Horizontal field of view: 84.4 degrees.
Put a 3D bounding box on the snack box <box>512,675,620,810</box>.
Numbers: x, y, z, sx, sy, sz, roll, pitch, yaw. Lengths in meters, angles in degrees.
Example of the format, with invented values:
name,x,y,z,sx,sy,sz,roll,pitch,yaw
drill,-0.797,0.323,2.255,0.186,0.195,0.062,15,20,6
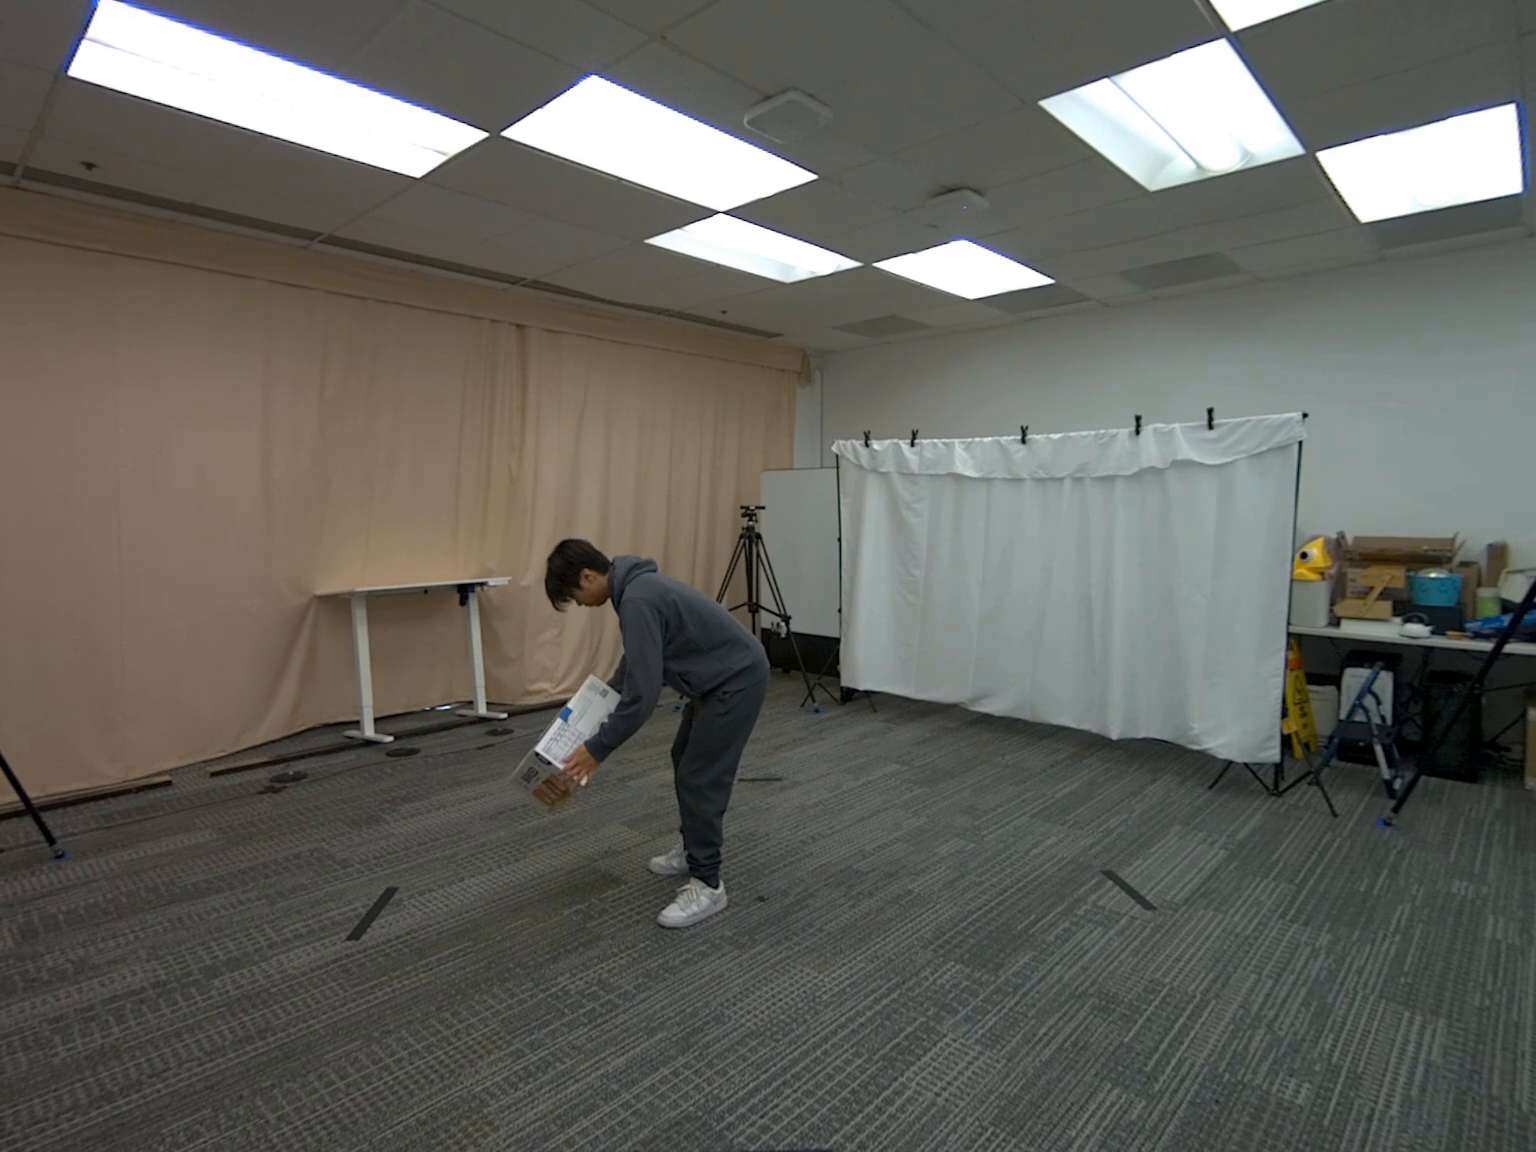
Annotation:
name,x,y,z,sx,sy,sz,roll,pitch,yaw
snack box,-0.695,0.601,2.986,0.204,0.339,0.408,37,-39,-6
